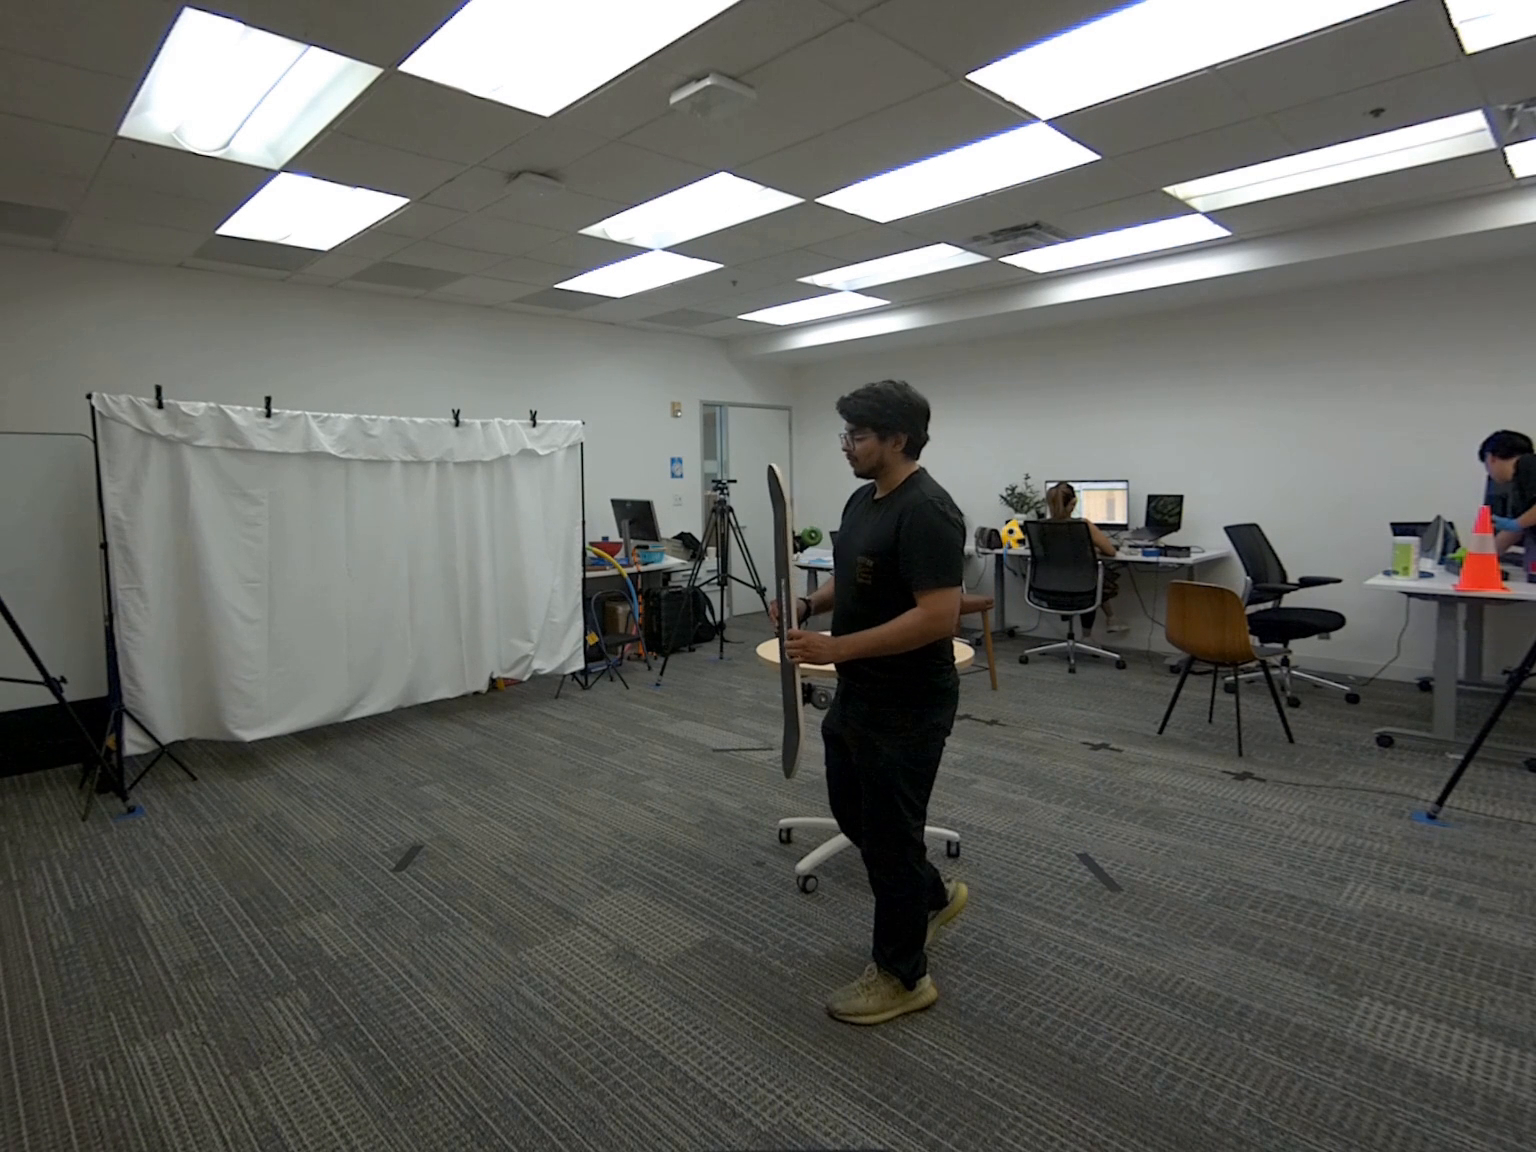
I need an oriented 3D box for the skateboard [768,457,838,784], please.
[{"bbox_3d":[0.093,0.102,2.180,0.109,0.788,0.194,-2,-4,-11],"label":"skateboard"}]
